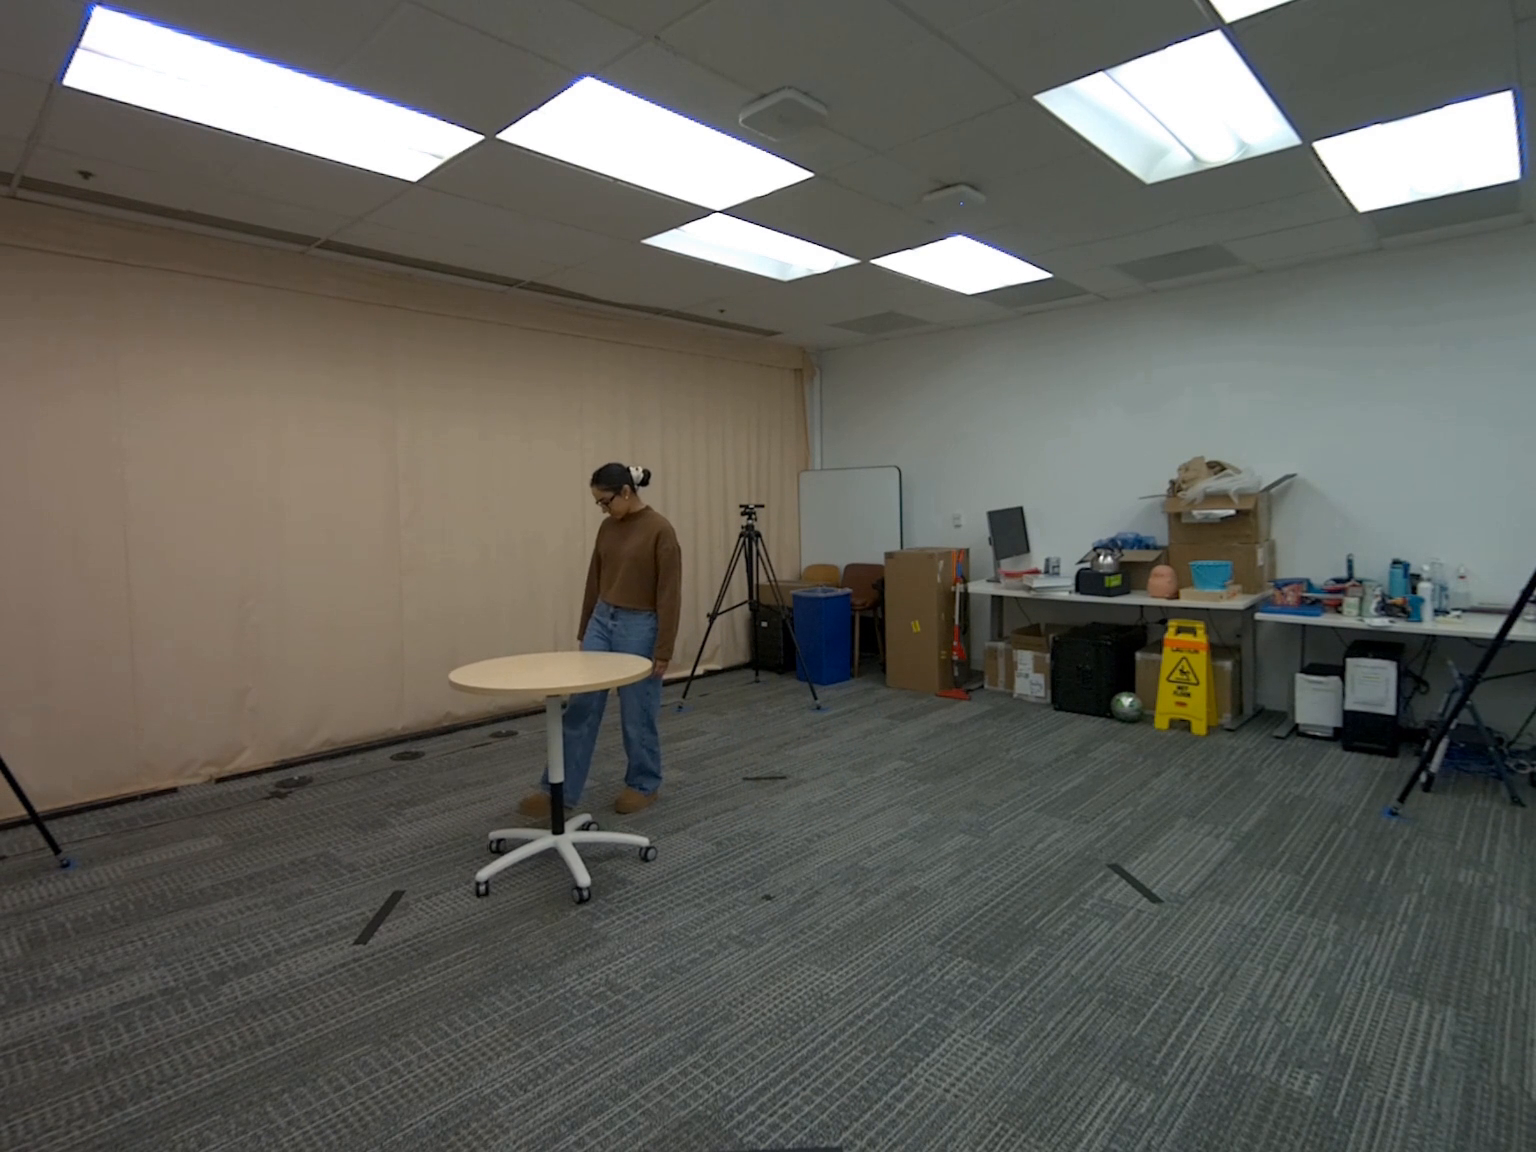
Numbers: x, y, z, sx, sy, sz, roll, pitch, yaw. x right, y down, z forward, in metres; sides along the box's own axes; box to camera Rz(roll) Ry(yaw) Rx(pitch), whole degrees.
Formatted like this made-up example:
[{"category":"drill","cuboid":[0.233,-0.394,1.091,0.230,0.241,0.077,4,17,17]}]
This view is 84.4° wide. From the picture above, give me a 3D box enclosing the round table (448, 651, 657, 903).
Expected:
[{"category":"round table","cuboid":[-0.816,0.744,3.253,0.763,0.792,0.766,-2,3,-2]}]
